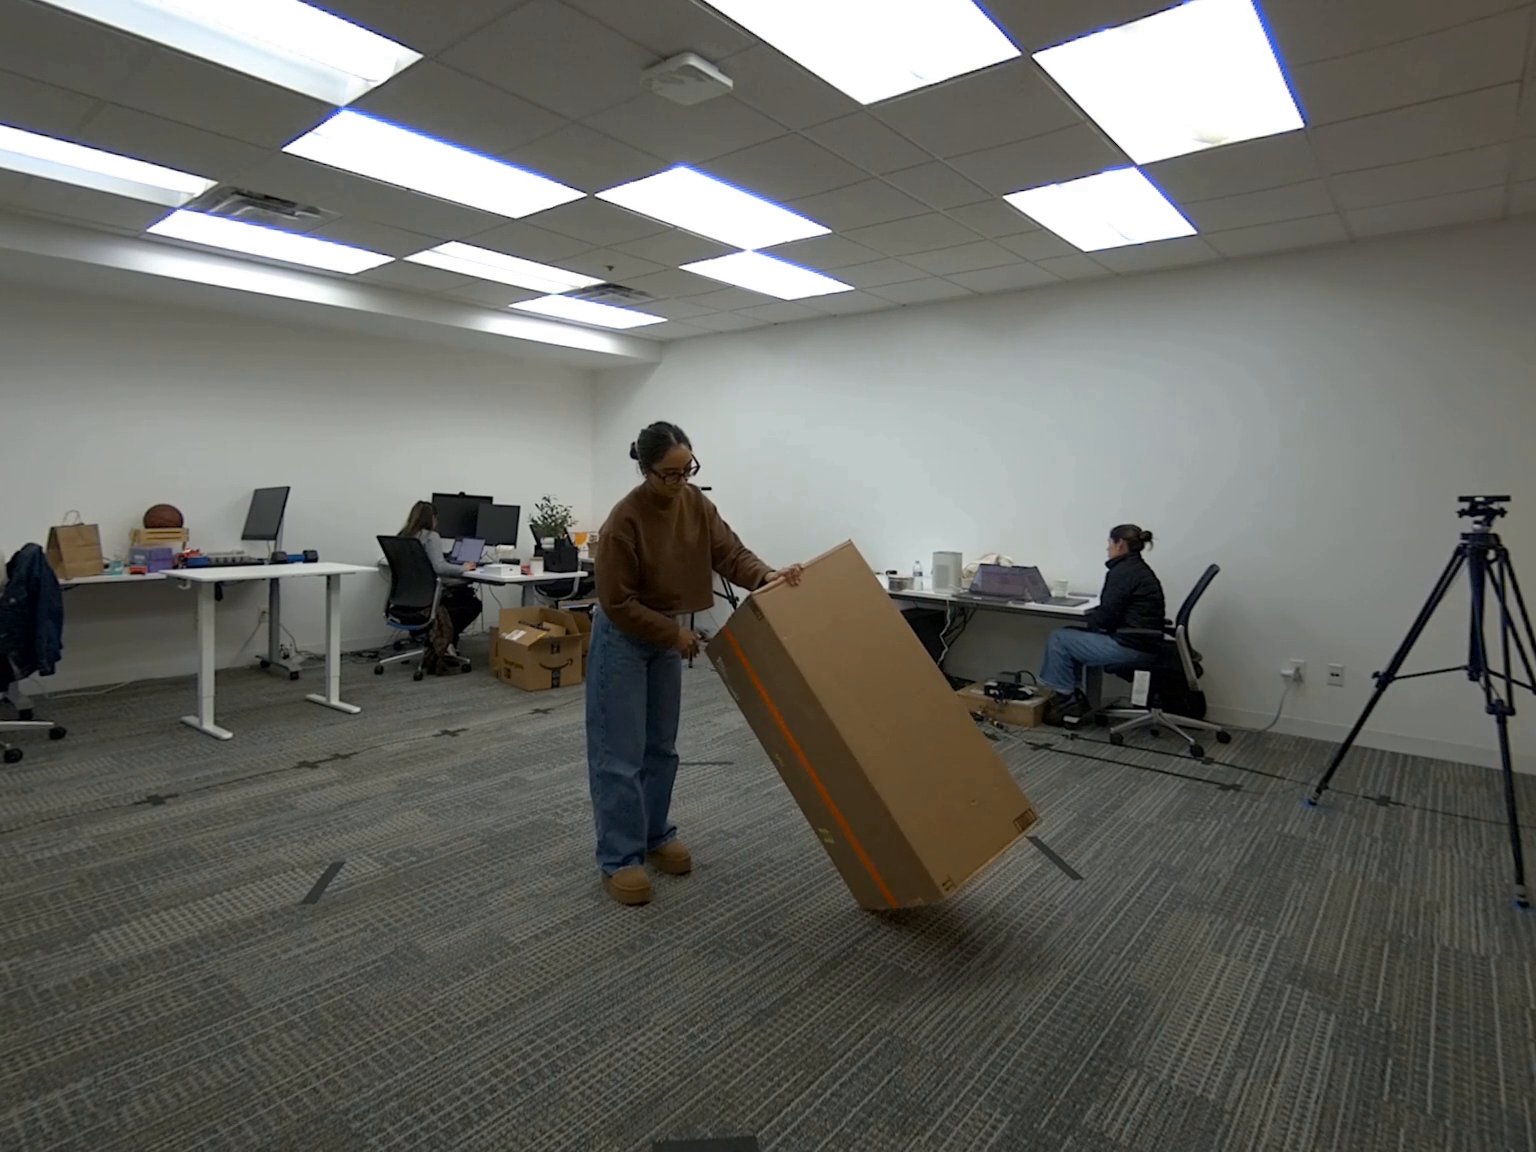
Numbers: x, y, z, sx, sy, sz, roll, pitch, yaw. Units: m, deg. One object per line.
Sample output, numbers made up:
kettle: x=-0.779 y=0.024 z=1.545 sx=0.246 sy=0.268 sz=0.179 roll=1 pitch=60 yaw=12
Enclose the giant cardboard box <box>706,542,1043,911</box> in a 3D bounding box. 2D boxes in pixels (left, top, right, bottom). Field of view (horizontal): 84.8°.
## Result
giant cardboard box: x=0.282 y=0.501 z=2.810 sx=0.441 sy=1.047 sz=0.581 roll=-25 pitch=-15 yaw=-28
